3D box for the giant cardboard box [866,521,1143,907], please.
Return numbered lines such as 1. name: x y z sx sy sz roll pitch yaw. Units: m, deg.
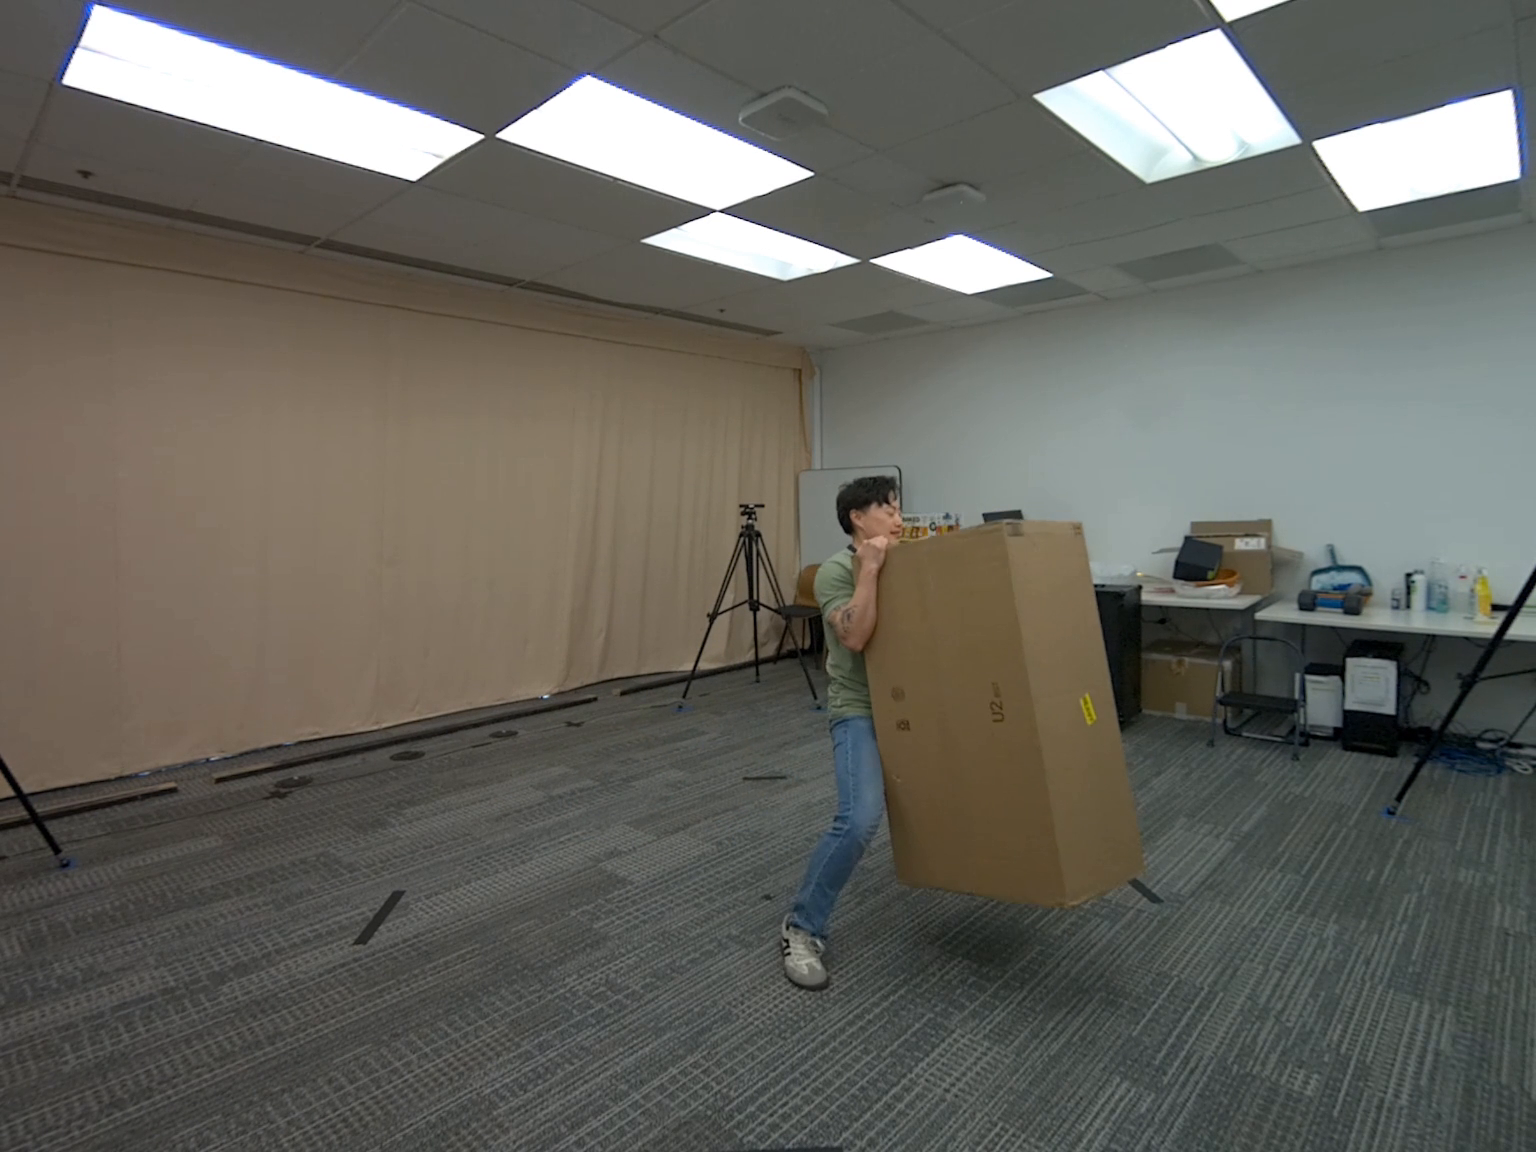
1. giant cardboard box: 0.698 0.384 2.573 0.413 1.032 0.592 0 -10 -41
